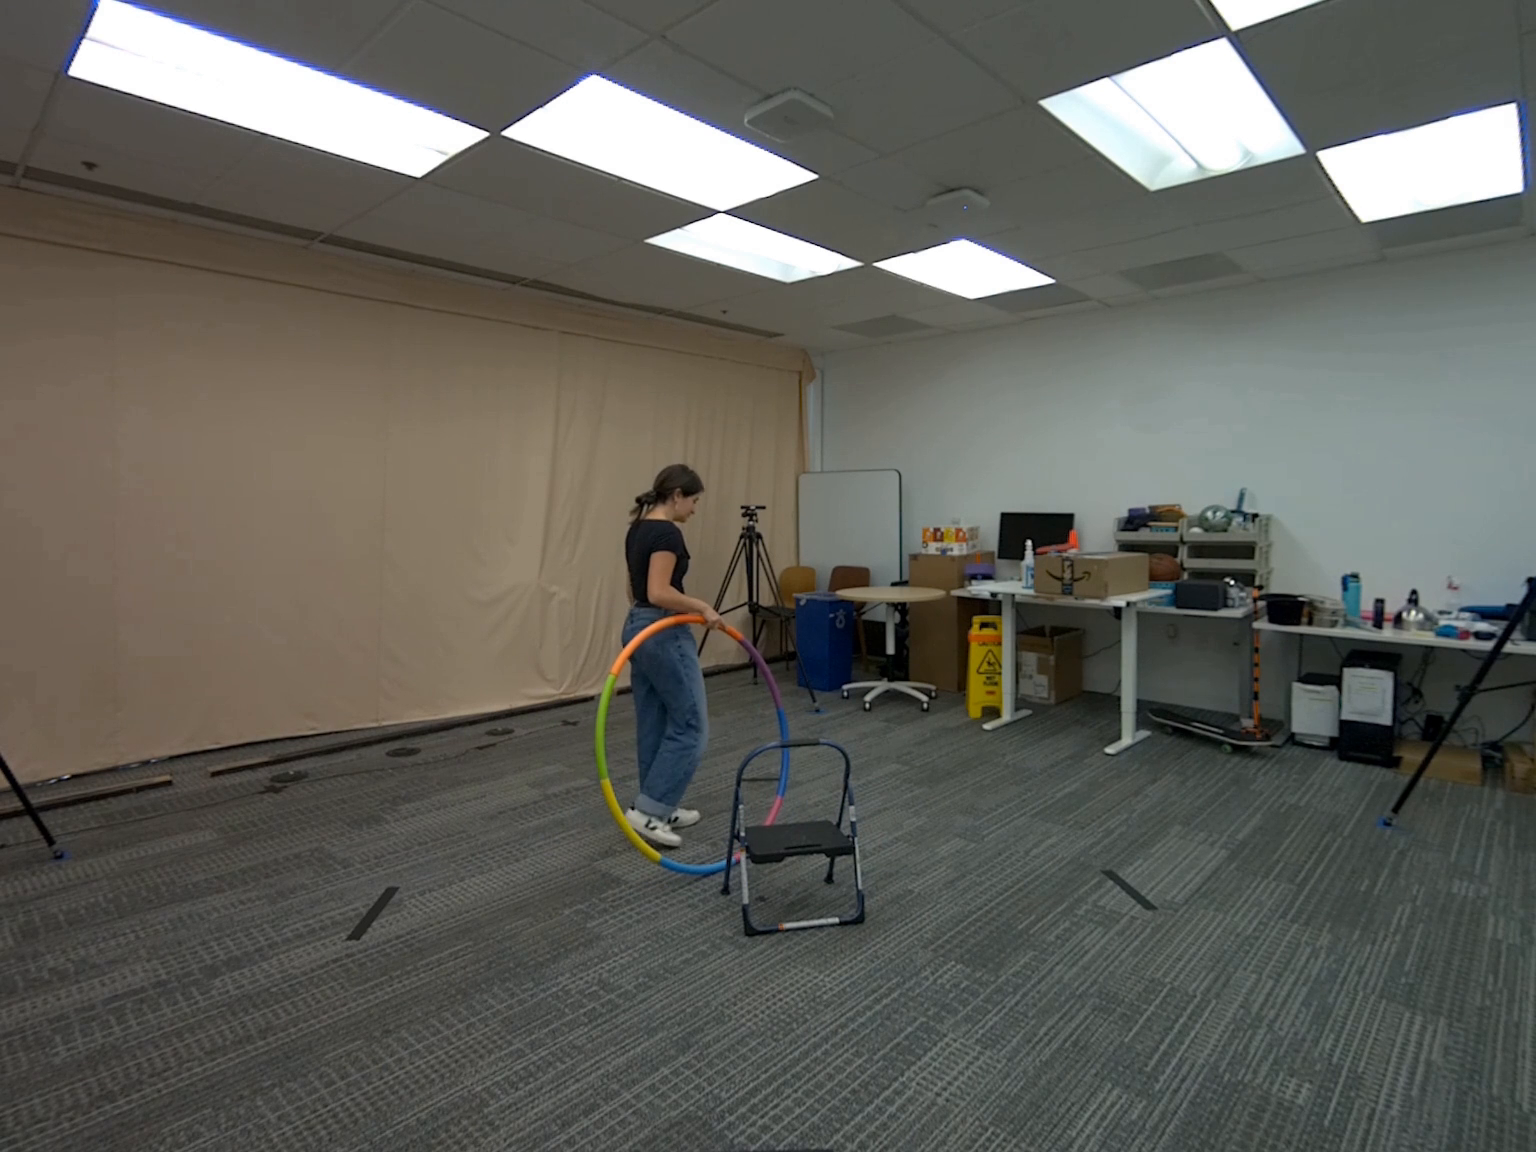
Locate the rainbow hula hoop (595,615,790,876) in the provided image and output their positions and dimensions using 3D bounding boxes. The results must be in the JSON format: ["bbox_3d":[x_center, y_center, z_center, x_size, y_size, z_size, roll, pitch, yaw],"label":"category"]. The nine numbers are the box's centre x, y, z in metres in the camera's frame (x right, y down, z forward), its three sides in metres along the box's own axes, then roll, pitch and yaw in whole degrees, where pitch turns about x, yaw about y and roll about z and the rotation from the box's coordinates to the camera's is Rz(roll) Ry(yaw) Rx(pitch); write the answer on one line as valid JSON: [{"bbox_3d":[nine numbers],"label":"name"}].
[{"bbox_3d":[-0.246,0.646,3.295,0.948,0.985,0.036,-4,-11,-44],"label":"rainbow hula hoop"}]
